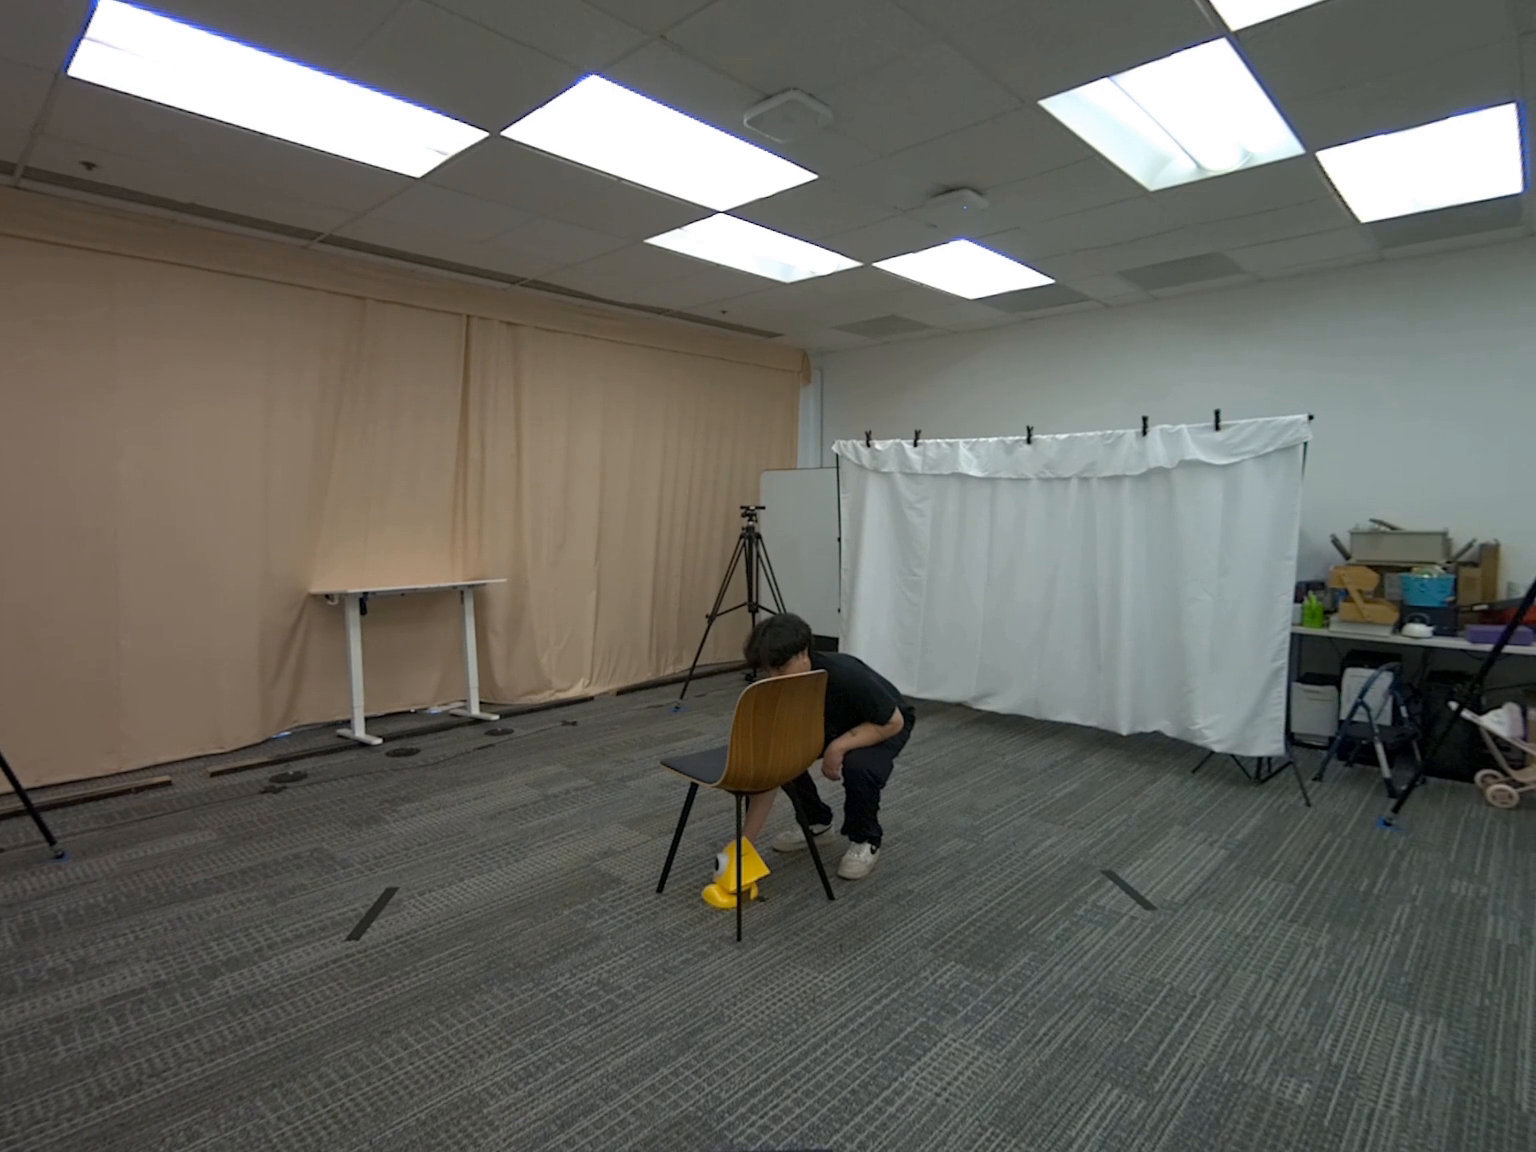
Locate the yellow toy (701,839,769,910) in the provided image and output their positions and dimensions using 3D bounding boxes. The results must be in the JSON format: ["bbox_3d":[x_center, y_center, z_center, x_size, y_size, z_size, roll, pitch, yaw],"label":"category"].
[{"bbox_3d":[-0.126,1.030,3.006,0.199,0.230,0.198,2,3,43],"label":"yellow toy"}]
